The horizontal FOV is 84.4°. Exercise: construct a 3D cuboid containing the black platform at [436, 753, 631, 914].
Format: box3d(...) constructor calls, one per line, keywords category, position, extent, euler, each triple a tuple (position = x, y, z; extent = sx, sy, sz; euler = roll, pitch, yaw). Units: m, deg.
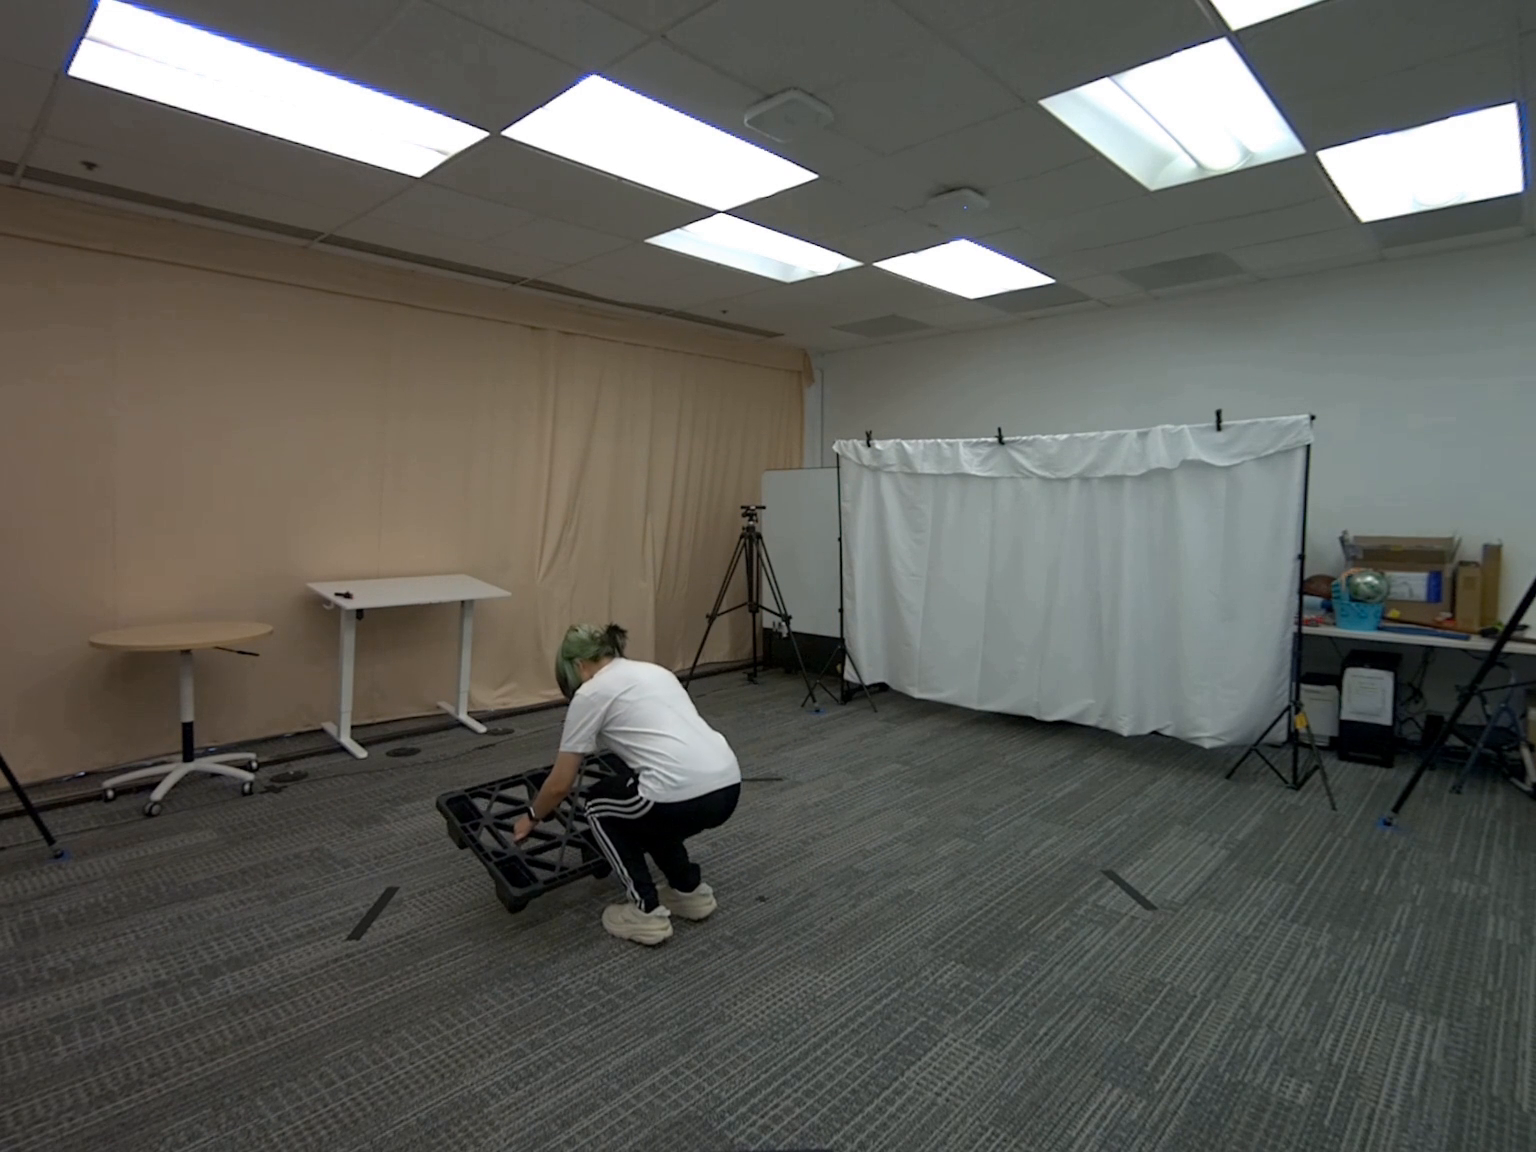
box3d(category="black platform", position=(-0.733, 0.932, 3.132), extent=(0.782, 0.142, 0.628), euler=(-8, 26, -43))
